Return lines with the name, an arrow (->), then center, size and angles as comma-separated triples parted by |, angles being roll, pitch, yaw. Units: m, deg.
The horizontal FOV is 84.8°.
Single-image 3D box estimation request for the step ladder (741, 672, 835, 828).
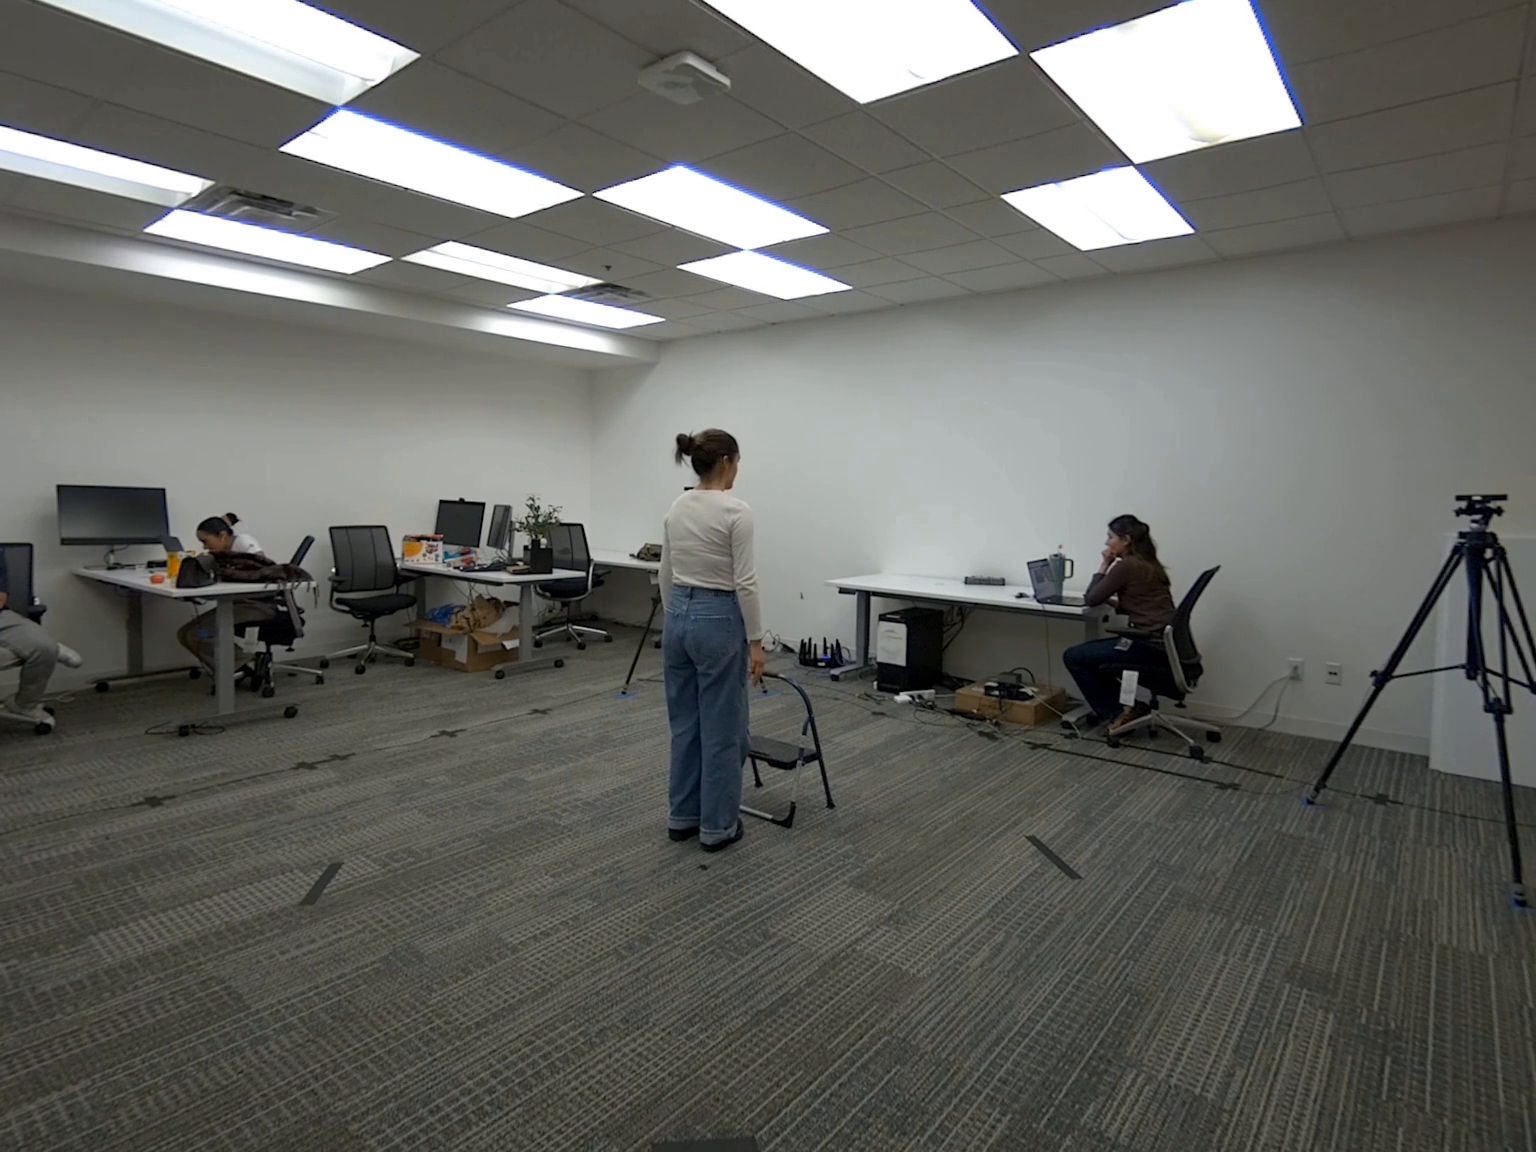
step ladder -> 0.024, 0.705, 3.733 | 0.445, 0.604, 0.339 | 3, 4, 38
